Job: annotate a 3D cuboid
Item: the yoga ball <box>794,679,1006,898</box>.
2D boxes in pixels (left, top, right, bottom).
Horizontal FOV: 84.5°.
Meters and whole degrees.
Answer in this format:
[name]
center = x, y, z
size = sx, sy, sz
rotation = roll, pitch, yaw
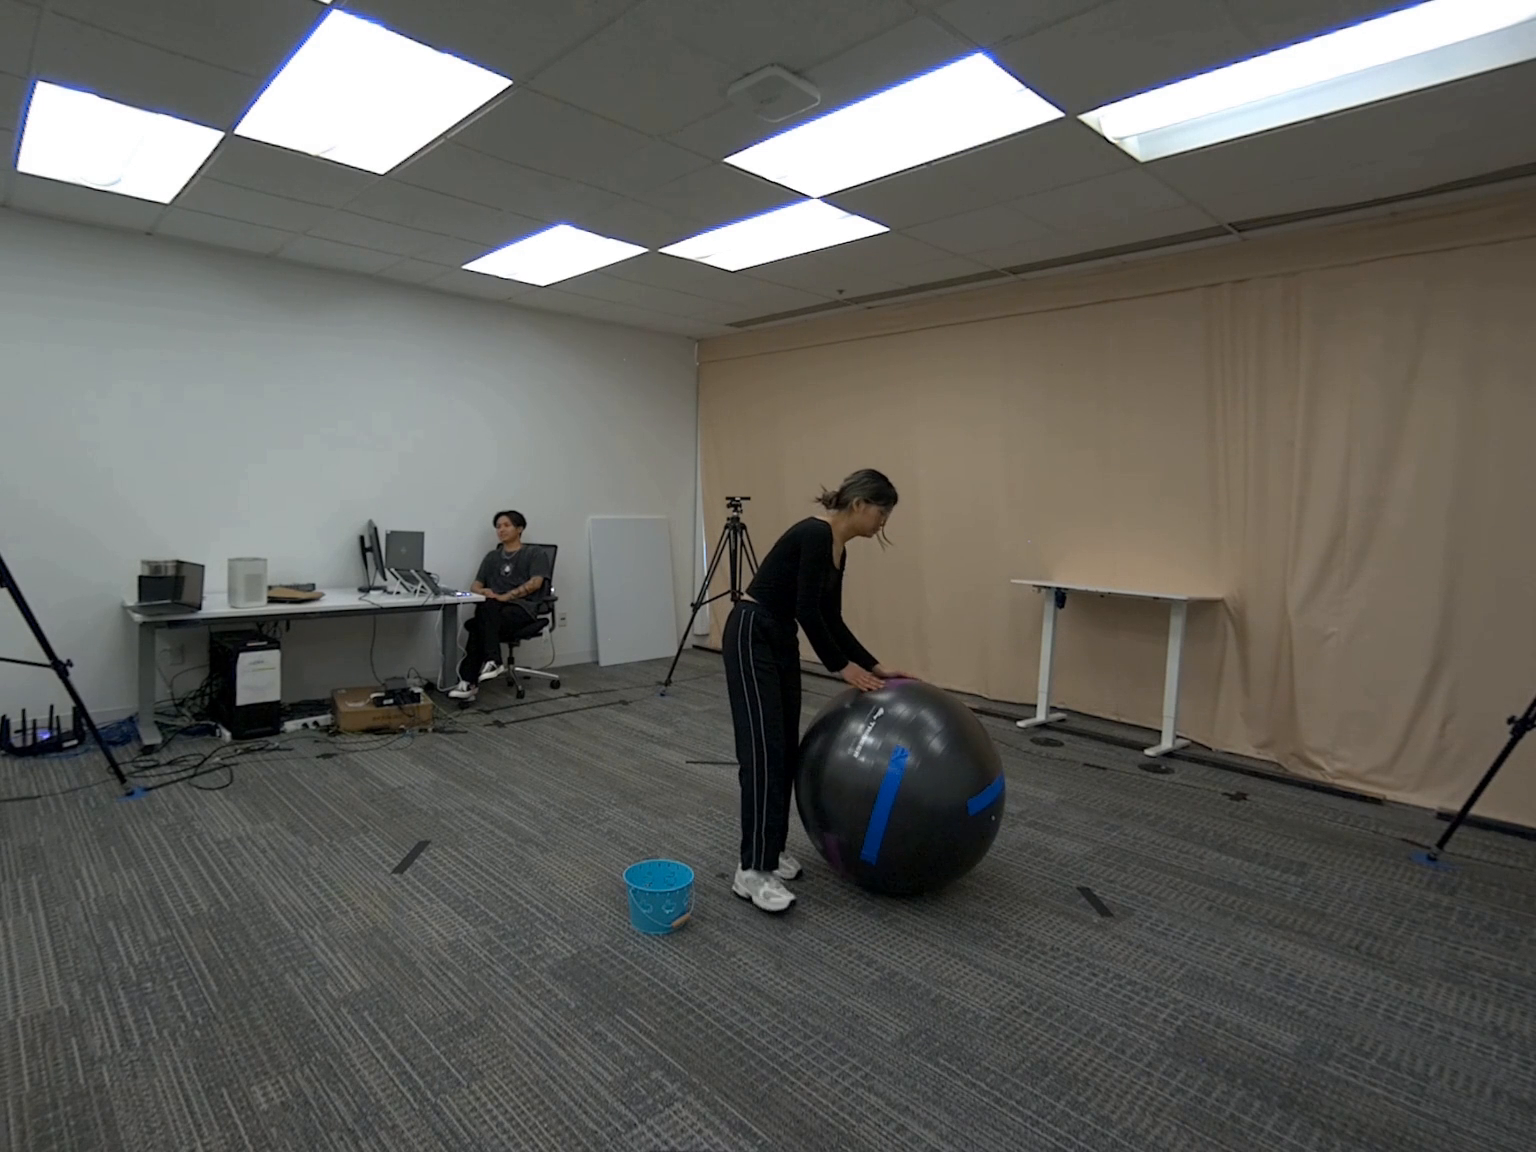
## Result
[yoga ball]
center = 0.473, 0.755, 3.071
size = 0.757, 0.756, 0.761
rotation = 1, 4, -1
